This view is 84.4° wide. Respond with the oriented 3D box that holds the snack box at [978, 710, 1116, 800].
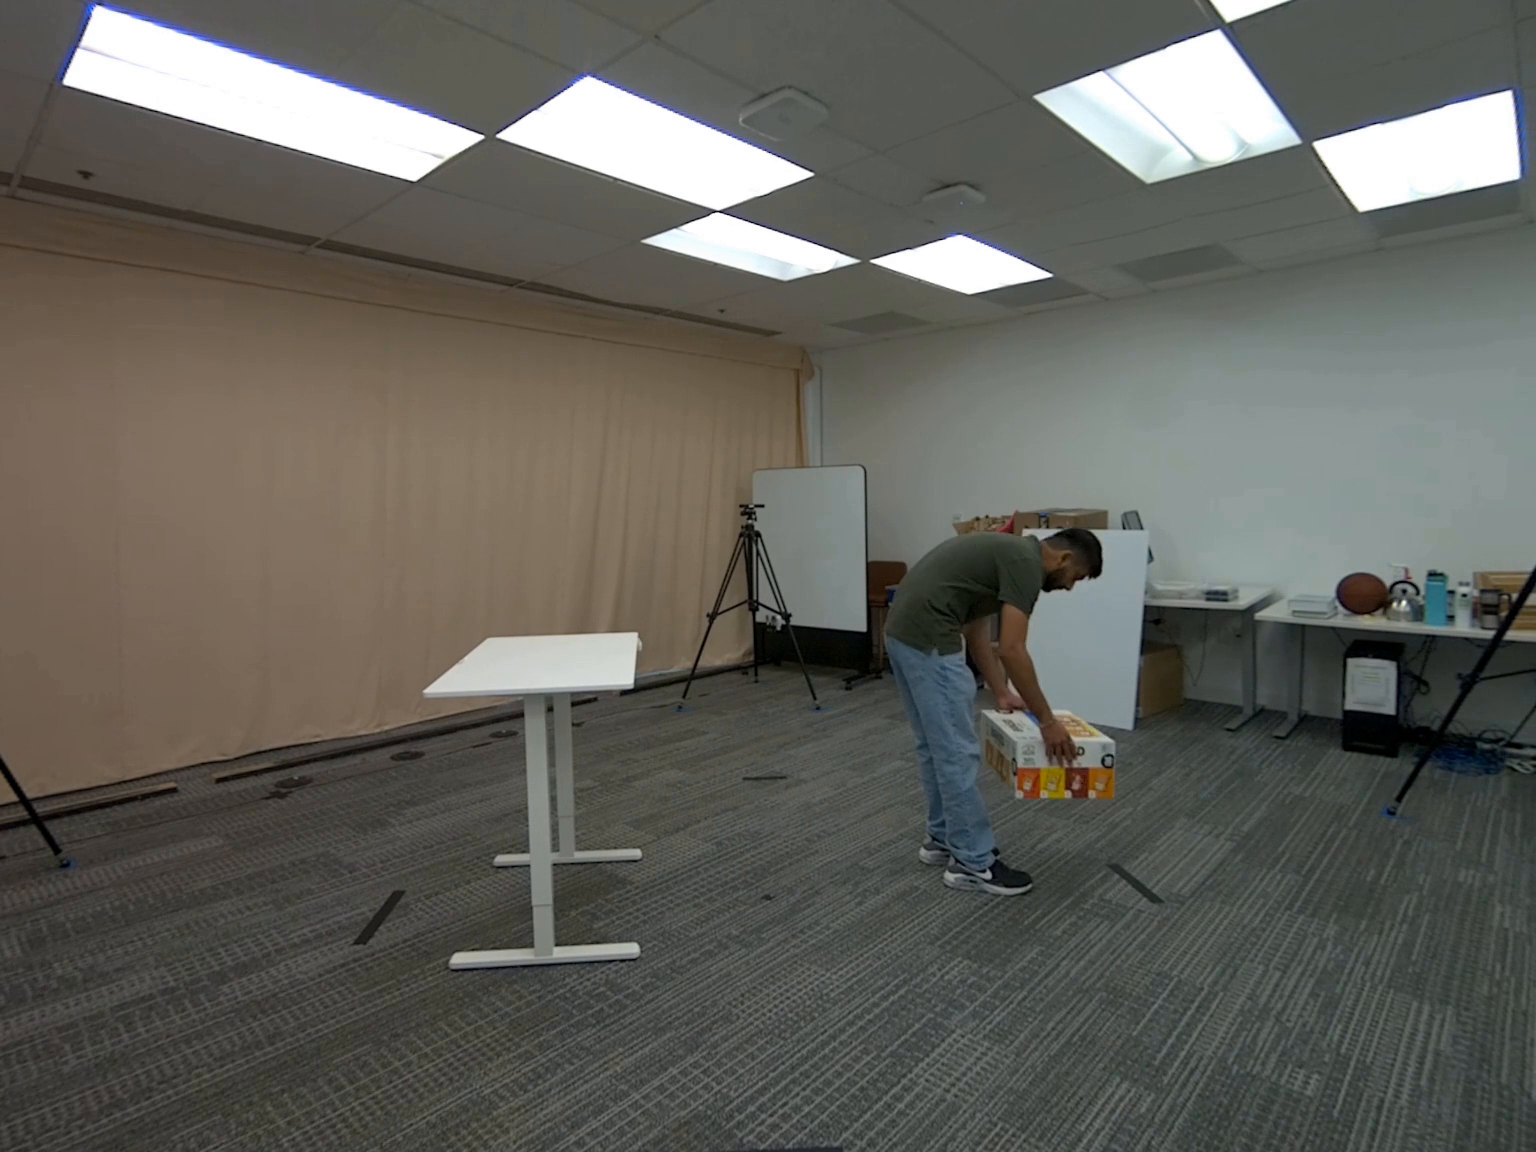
[{"bbox_3d":[1.025,0.648,3.106,0.340,0.205,0.407,0,6,-2],"label":"snack box"}]
